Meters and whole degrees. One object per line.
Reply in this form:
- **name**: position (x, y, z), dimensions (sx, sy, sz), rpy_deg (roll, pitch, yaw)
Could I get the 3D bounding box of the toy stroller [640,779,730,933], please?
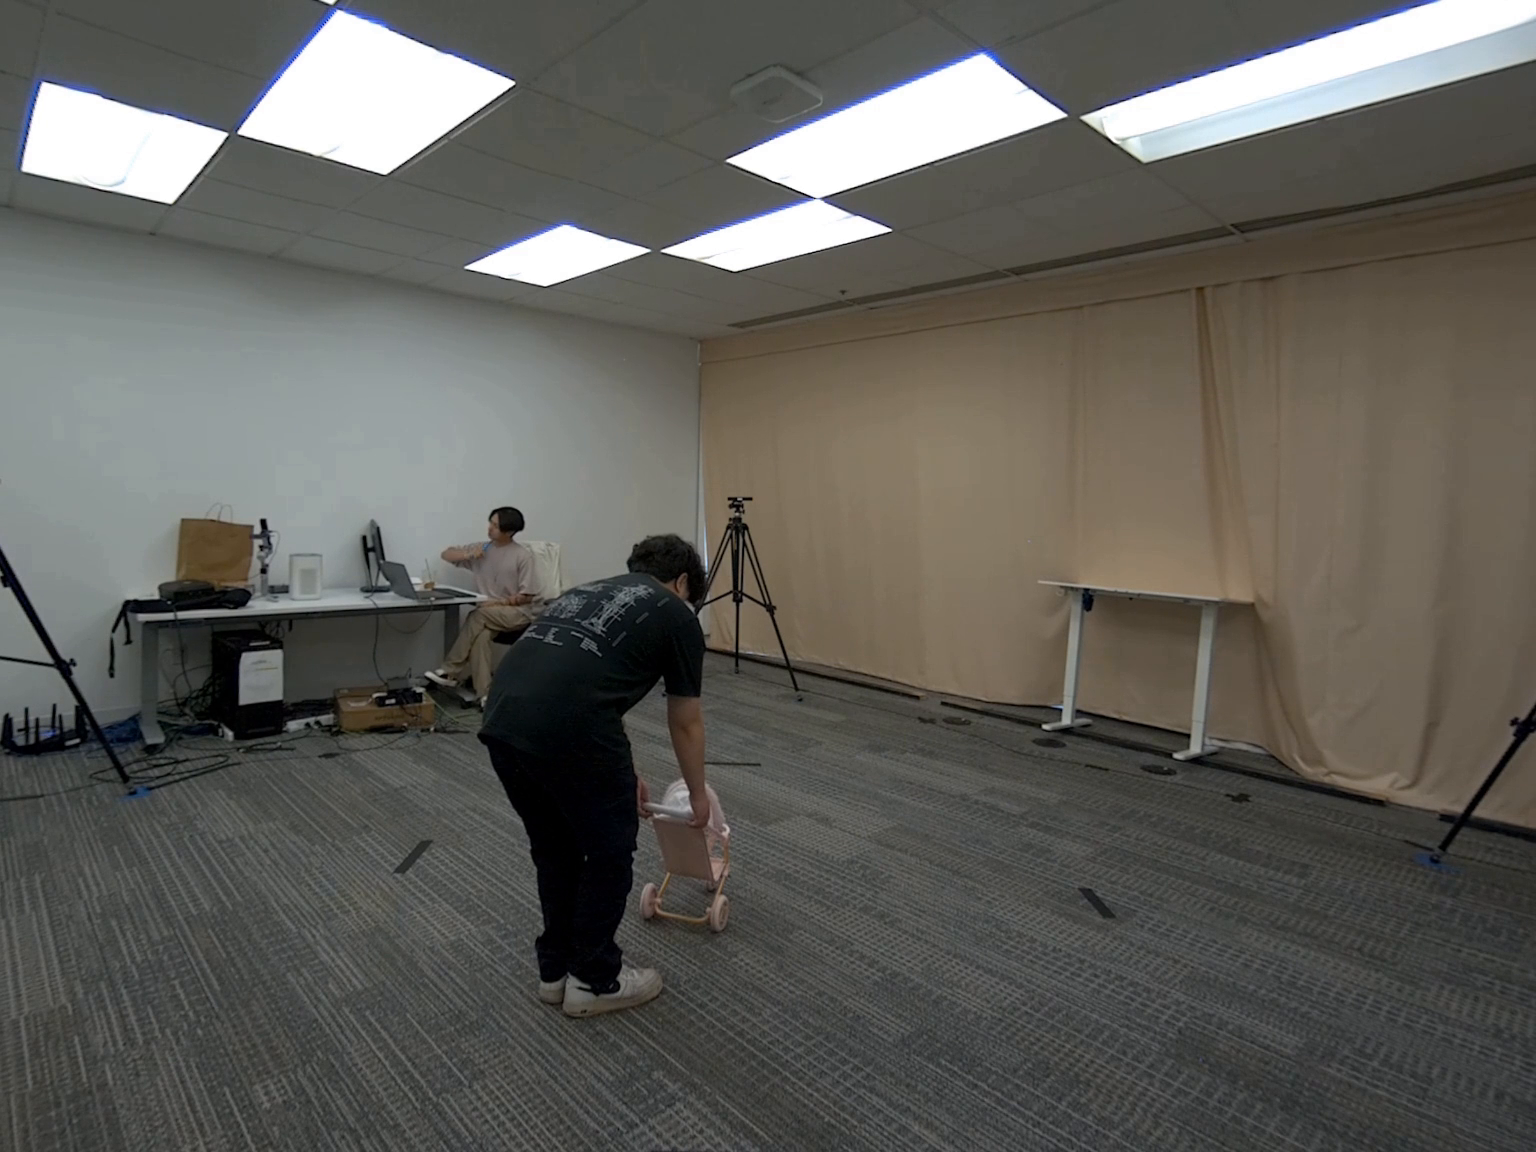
- **toy stroller**: position (-0.254, 0.909, 2.798), dimensions (0.286, 0.528, 0.340), rpy_deg (4, 19, 21)
